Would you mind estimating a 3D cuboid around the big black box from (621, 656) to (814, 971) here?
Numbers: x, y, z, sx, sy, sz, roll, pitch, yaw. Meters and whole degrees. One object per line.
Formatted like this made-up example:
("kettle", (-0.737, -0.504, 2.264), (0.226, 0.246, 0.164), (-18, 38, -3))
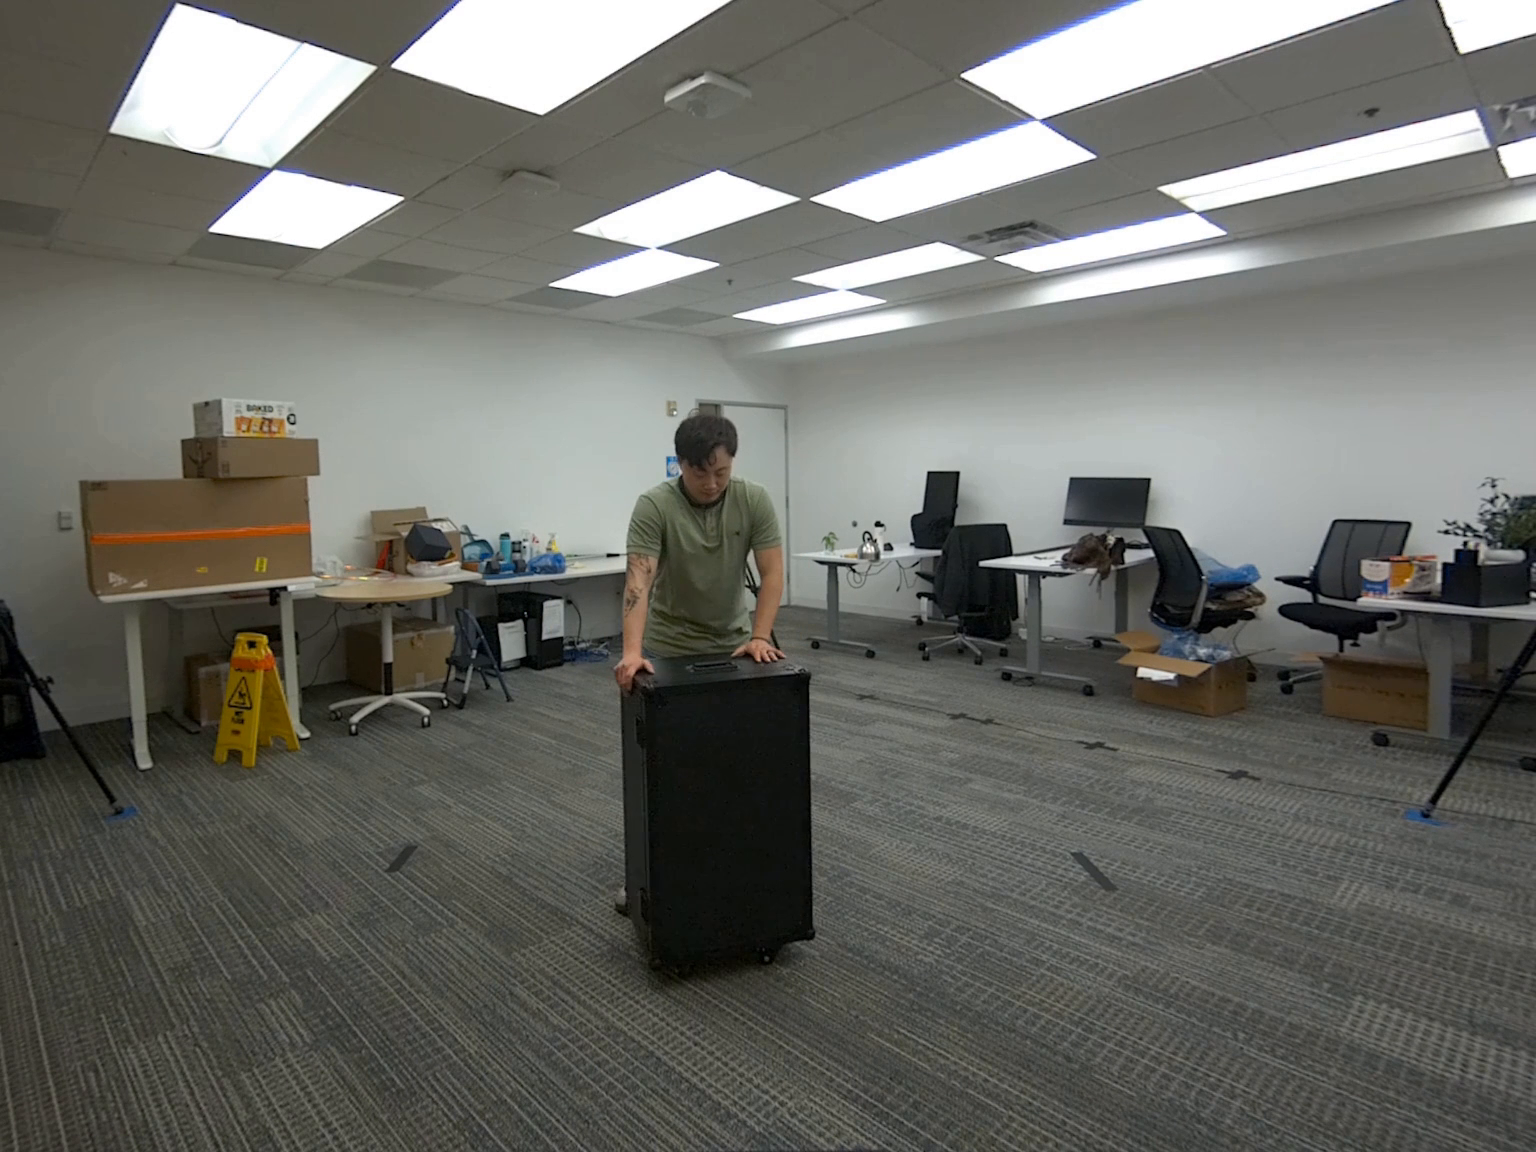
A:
("big black box", (-0.167, 0.689, 2.538), (0.513, 0.859, 0.404), (-3, 4, -19))
